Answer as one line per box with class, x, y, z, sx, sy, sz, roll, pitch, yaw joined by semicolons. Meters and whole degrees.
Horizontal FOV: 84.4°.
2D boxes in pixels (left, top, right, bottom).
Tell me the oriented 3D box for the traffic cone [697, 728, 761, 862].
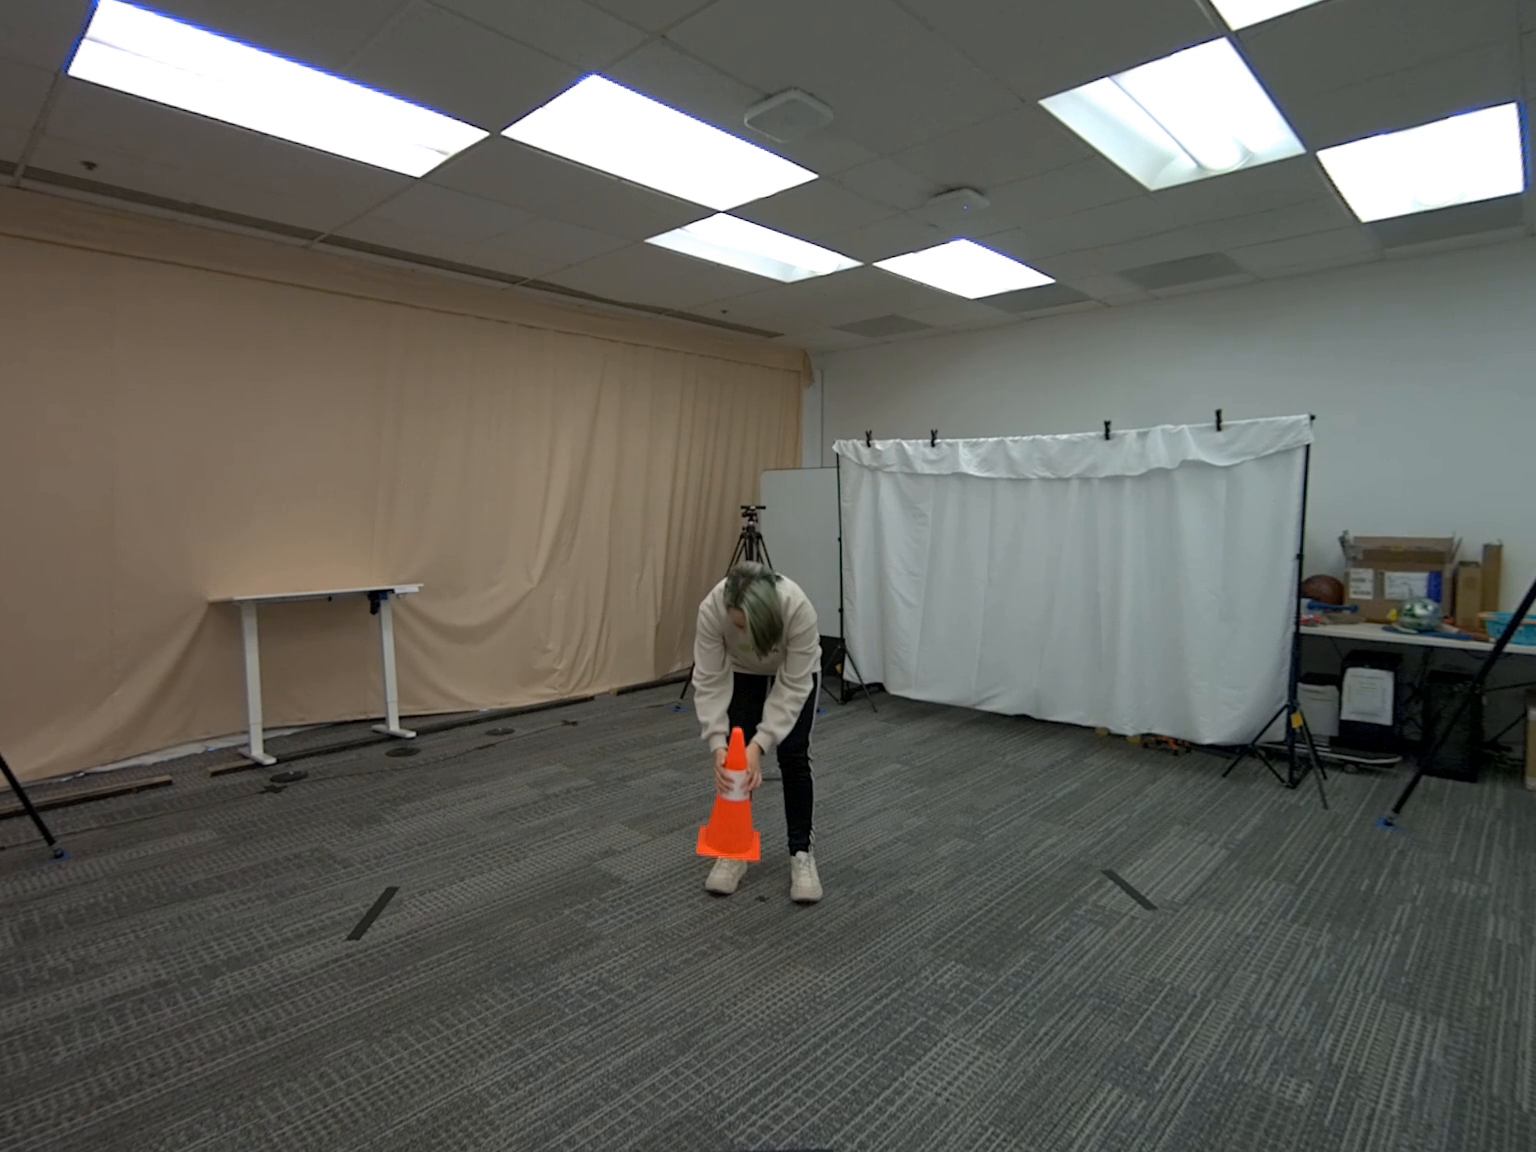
traffic cone;-0.108;0.660;2.663;0.206;0.382;0.203;3;8;3
